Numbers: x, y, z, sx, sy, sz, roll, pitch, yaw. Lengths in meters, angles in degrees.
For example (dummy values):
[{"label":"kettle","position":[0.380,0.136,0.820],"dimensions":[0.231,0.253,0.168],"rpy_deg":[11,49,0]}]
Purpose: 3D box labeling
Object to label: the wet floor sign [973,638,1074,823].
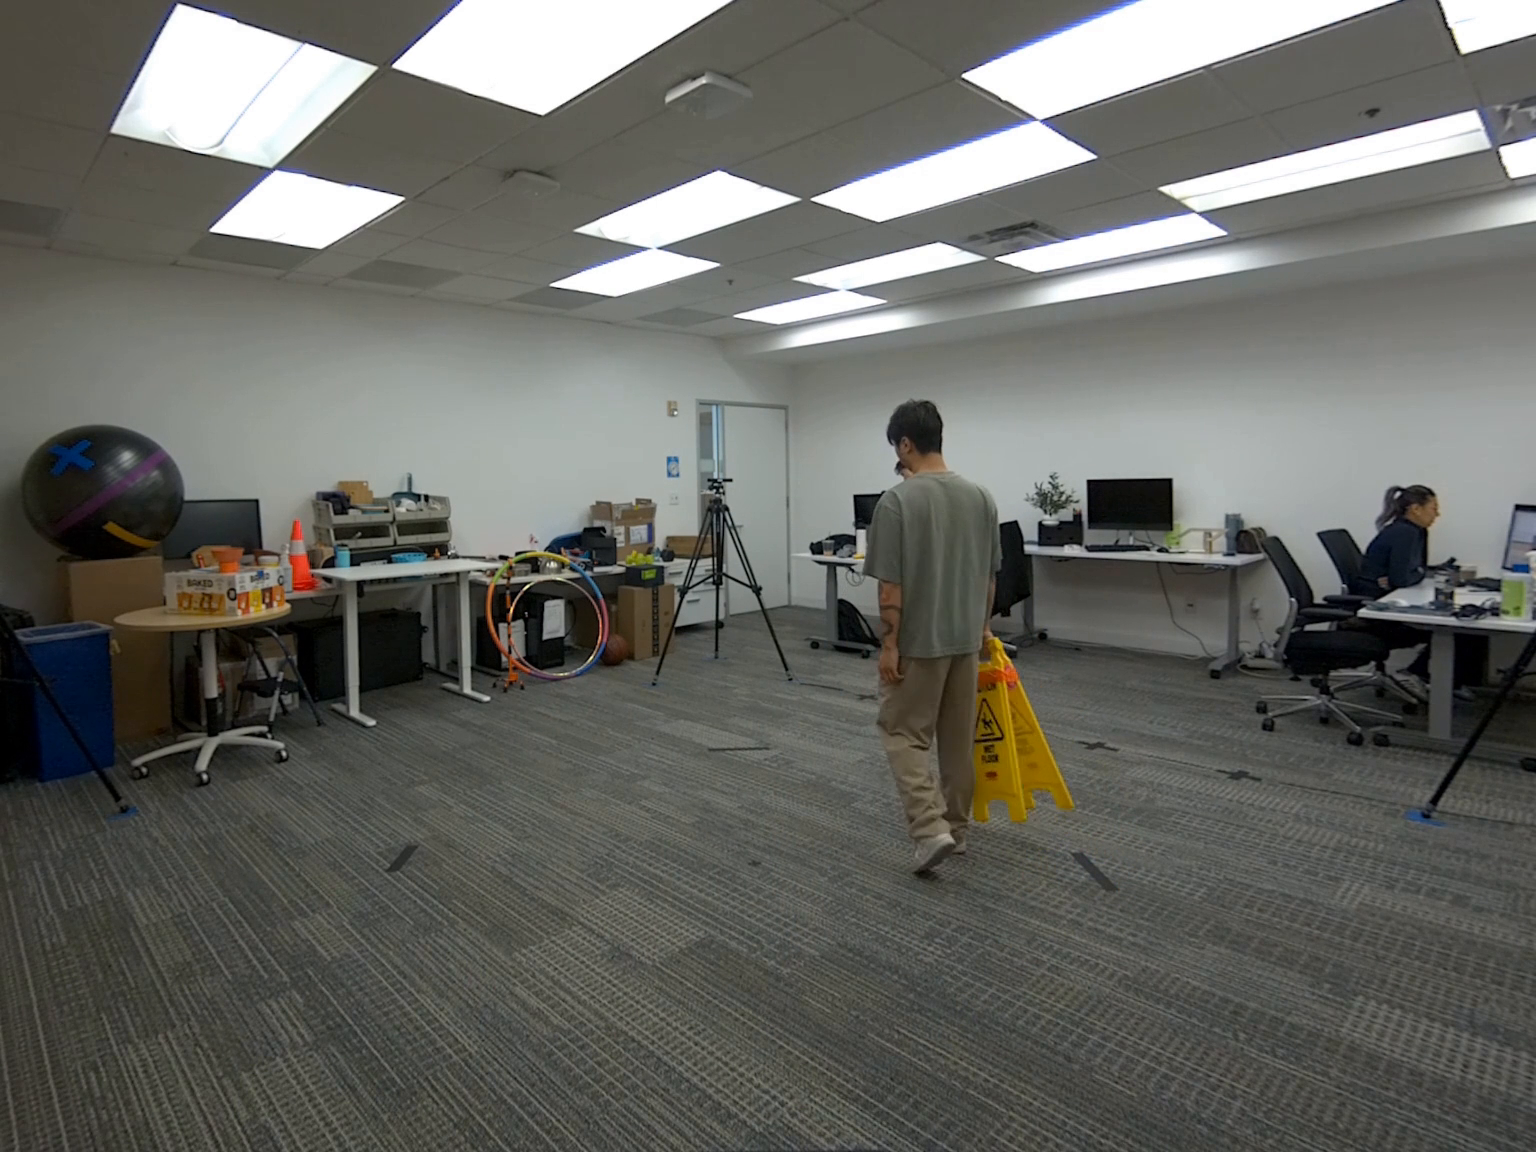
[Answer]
[{"label":"wet floor sign","position":[0.874,0.568,3.227],"dimensions":[0.284,0.656,0.283],"rpy_deg":[-5,-15,-24]}]
